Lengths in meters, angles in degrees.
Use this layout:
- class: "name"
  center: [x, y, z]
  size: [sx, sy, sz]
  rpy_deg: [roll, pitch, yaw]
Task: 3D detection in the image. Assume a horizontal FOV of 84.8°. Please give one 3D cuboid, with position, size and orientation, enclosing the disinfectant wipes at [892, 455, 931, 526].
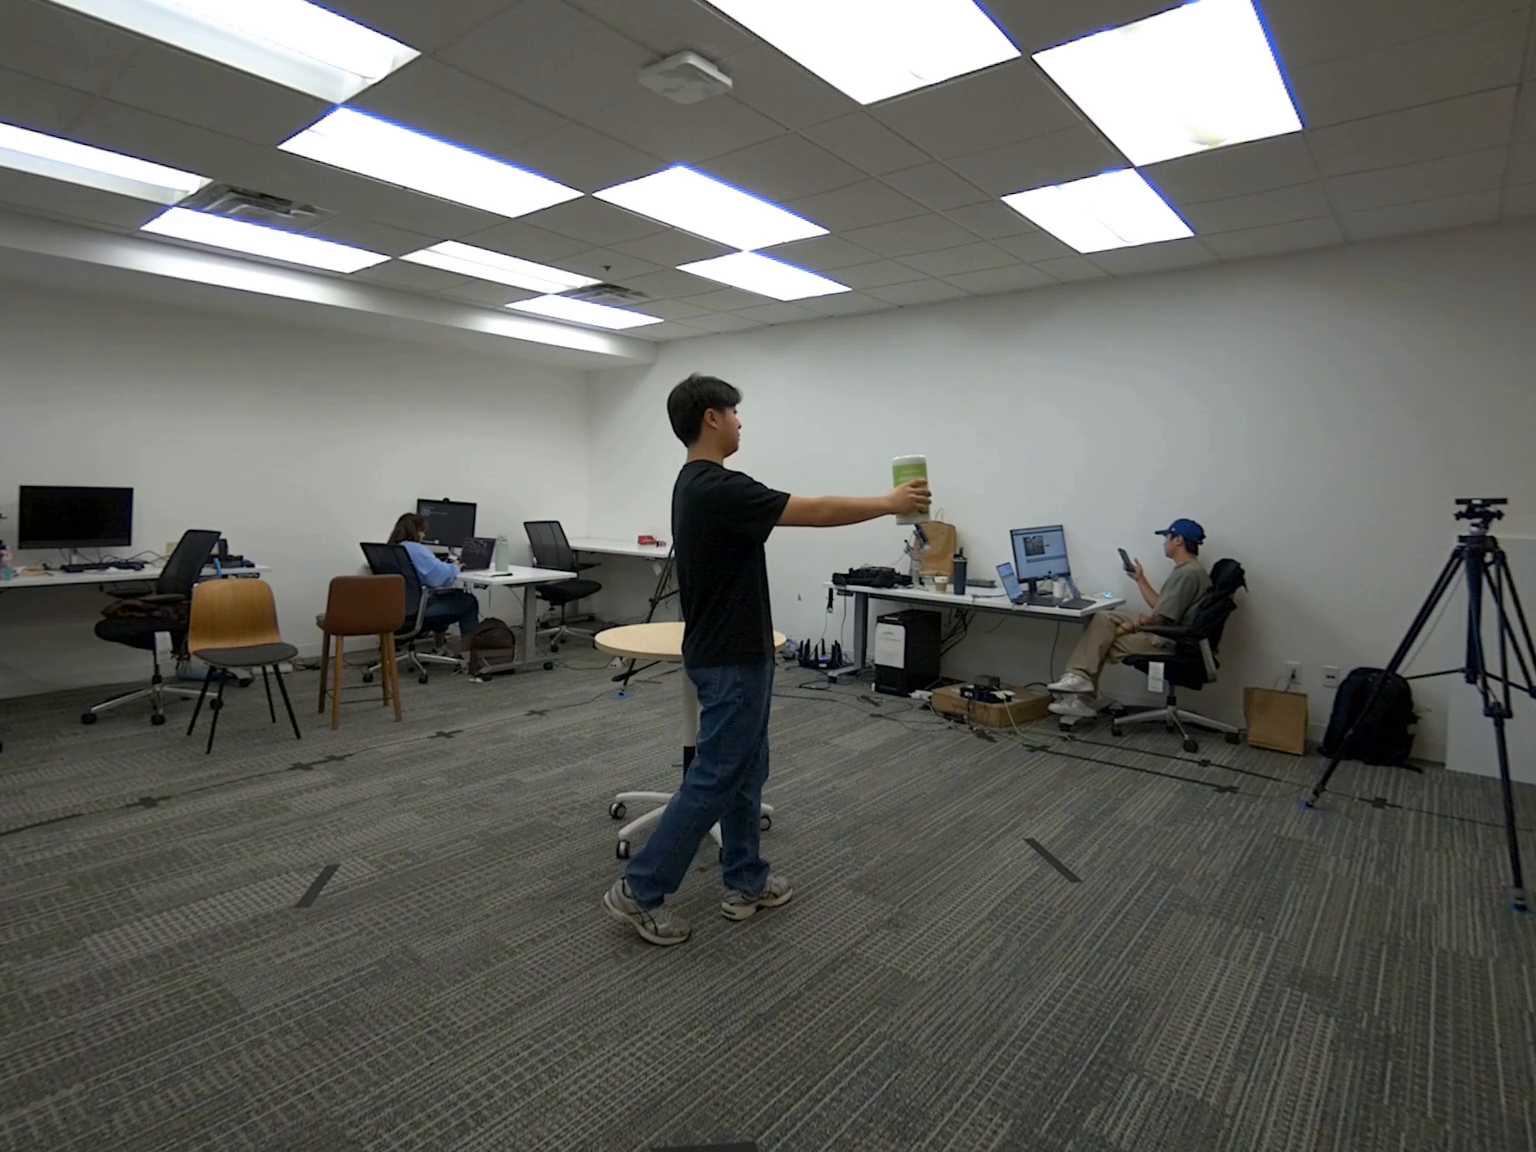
- class: "disinfectant wipes"
  center: [0.449, -0.274, 2.706]
  size: [0.117, 0.218, 0.118]
  rpy_deg: [-3, -2, -2]
